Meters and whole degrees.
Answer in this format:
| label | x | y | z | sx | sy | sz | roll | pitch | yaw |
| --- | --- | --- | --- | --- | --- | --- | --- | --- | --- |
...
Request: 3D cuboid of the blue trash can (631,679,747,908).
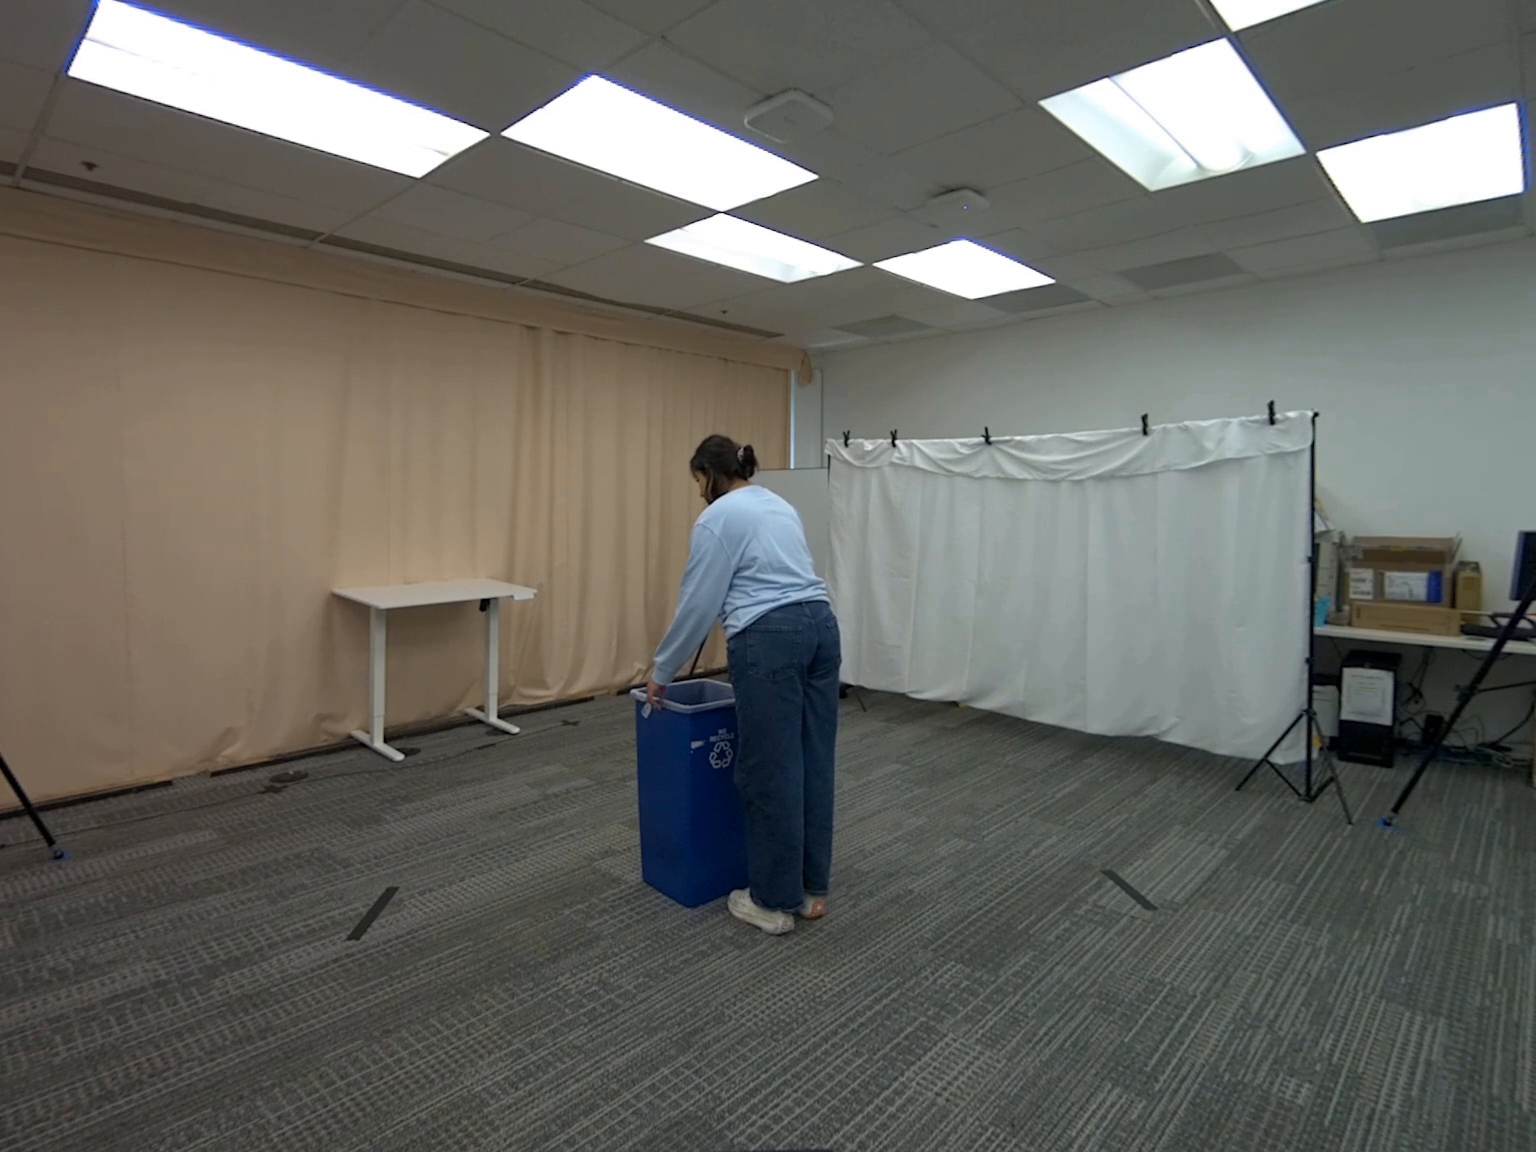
| label | x | y | z | sx | sy | sz | roll | pitch | yaw |
| --- | --- | --- | --- | --- | --- | --- | --- | --- | --- |
| blue trash can | -0.261 | 0.779 | 3.105 | 0.363 | 0.712 | 0.391 | -3 | 5 | -42 |
